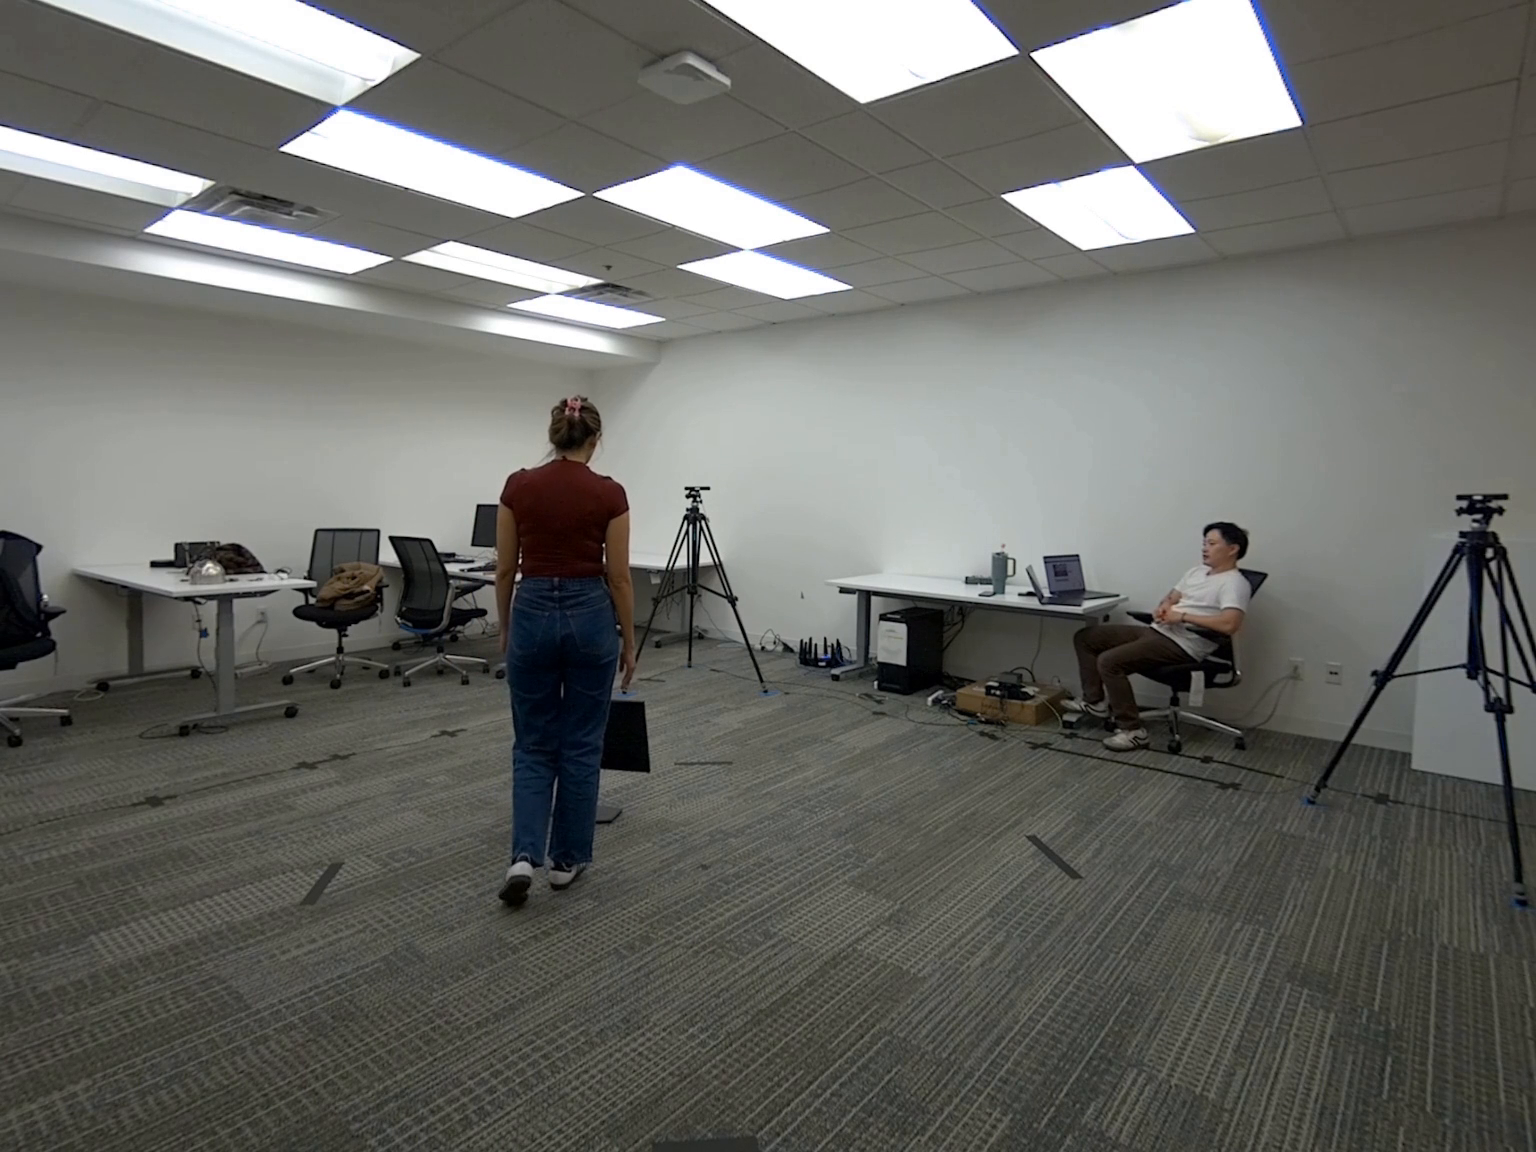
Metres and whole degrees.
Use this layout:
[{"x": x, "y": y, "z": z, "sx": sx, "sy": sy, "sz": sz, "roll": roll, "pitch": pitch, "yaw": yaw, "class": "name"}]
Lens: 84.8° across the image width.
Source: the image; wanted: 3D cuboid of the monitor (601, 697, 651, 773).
[{"x": -0.775, "y": 0.755, "z": 3.573, "sx": 0.545, "sy": 0.519, "sz": 0.186, "roll": 1, "pitch": 6, "yaw": 9, "class": "monitor"}]
